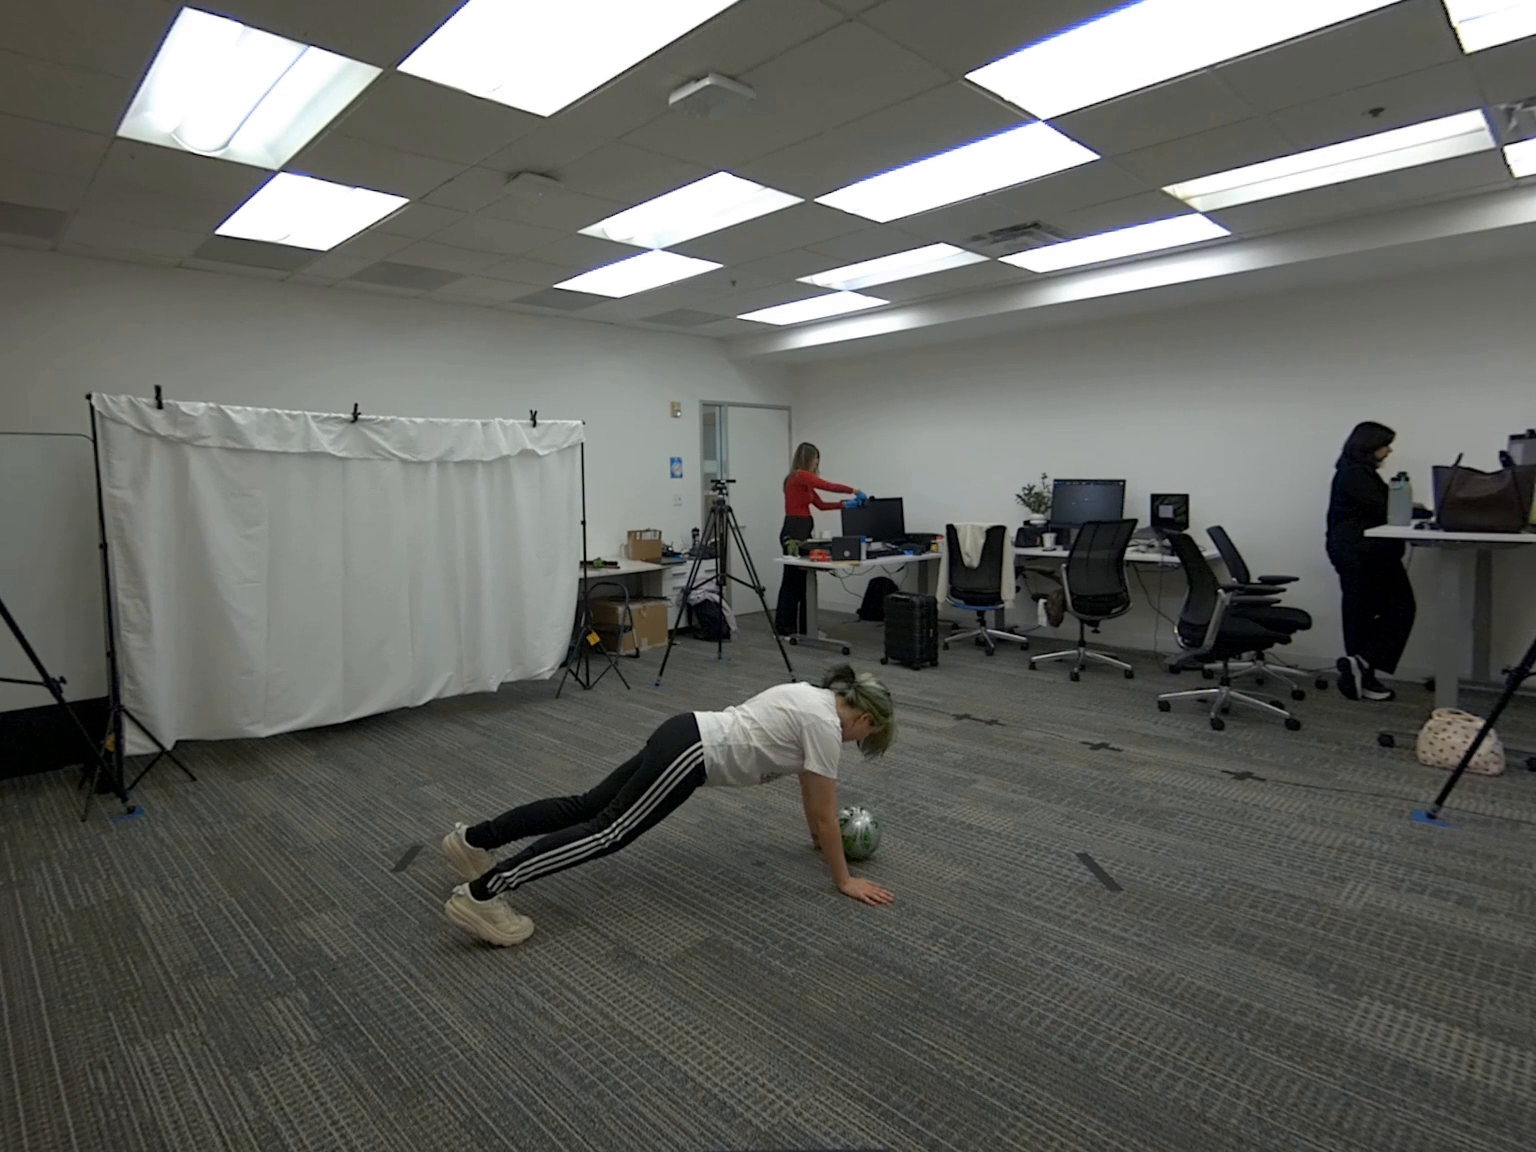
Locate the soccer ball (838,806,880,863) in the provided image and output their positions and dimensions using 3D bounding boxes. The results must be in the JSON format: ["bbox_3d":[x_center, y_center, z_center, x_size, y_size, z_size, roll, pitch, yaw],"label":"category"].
[{"bbox_3d":[0.322,0.944,3.140,0.187,0.187,0.188,-1,5,-2],"label":"soccer ball"}]
